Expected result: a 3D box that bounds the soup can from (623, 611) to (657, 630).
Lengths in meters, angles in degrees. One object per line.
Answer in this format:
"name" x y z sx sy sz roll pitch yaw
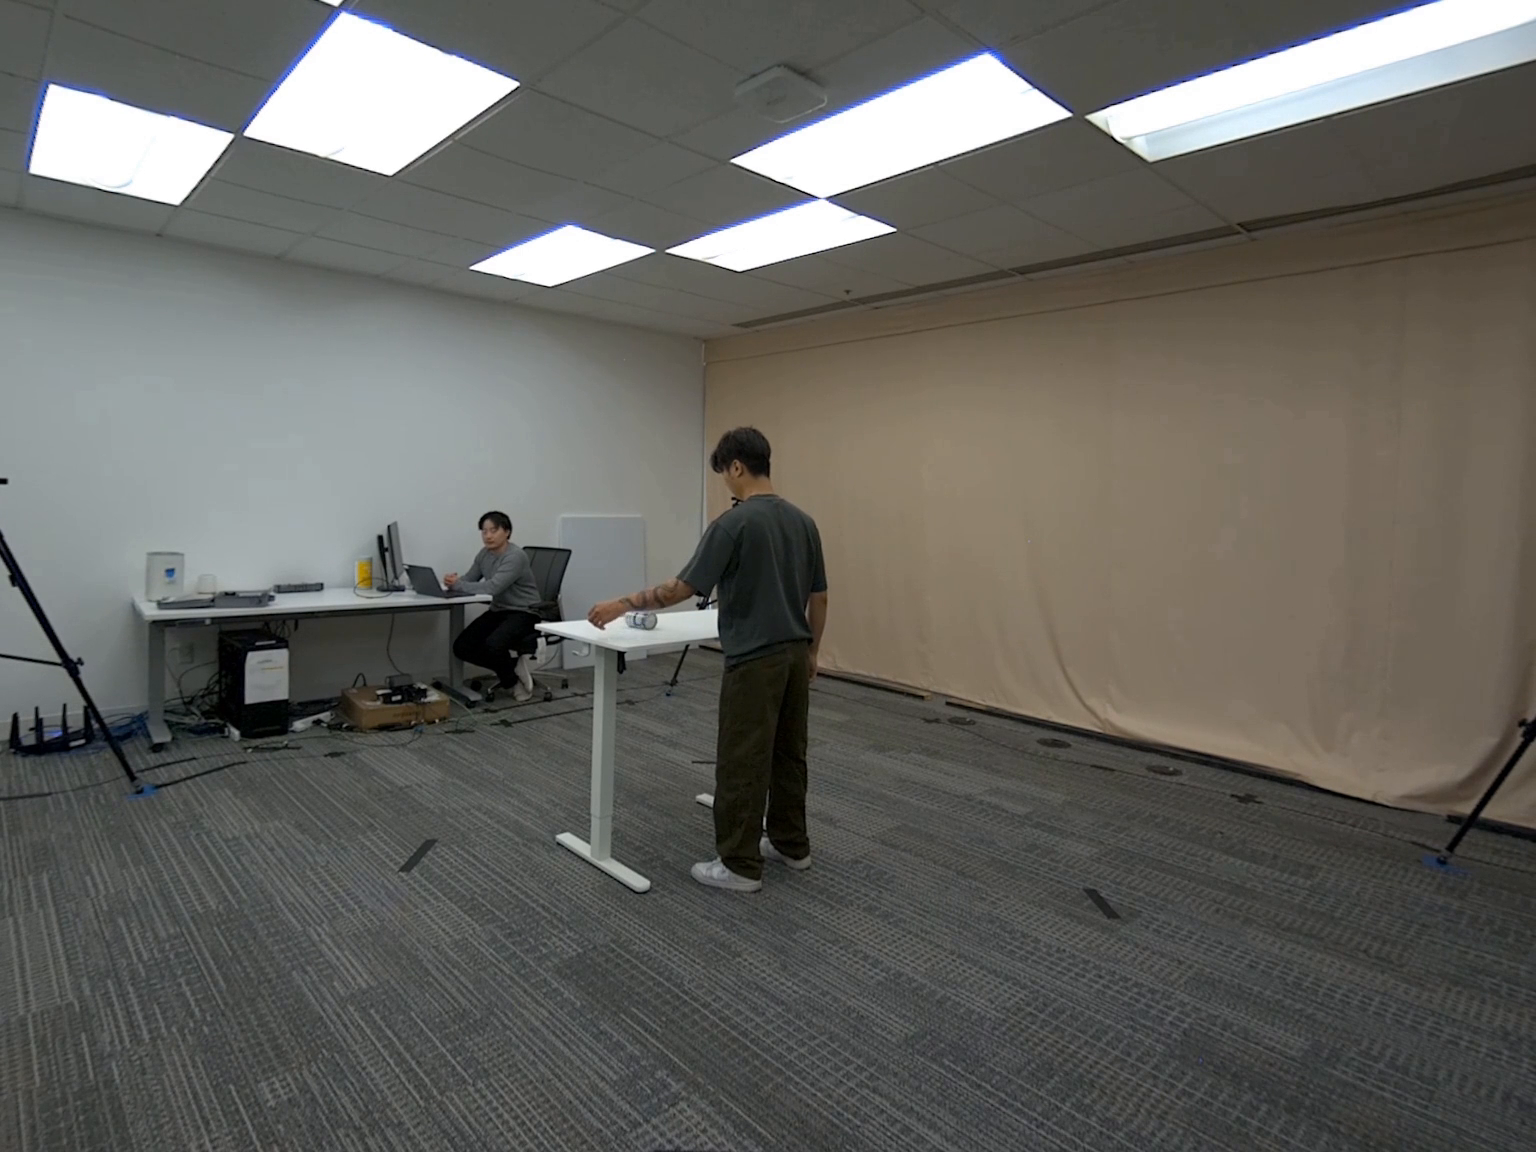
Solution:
"soup can" -0.486 0.169 3.252 0.124 0.067 0.066 3 4 25
